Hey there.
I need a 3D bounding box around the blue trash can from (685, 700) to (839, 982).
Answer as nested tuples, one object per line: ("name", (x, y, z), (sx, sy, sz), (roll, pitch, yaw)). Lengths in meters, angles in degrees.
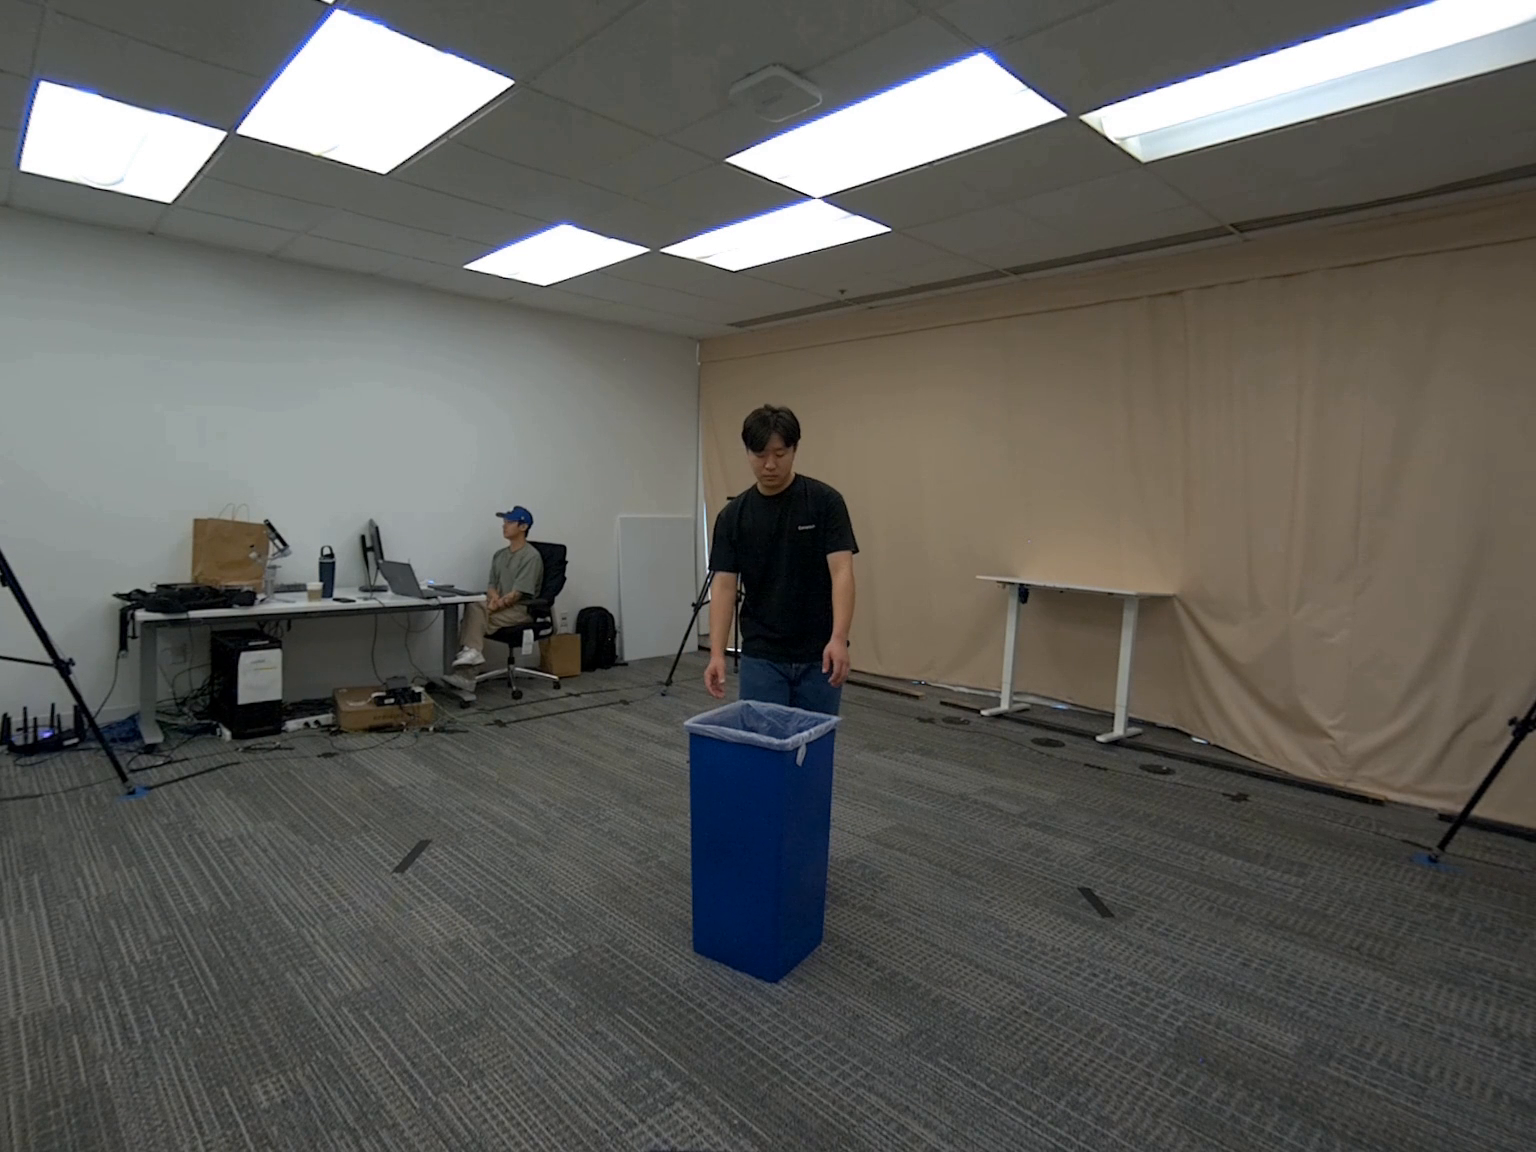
("blue trash can", (-0.033, 0.799, 2.598), (0.383, 0.711, 0.370), (4, 5, 32))
